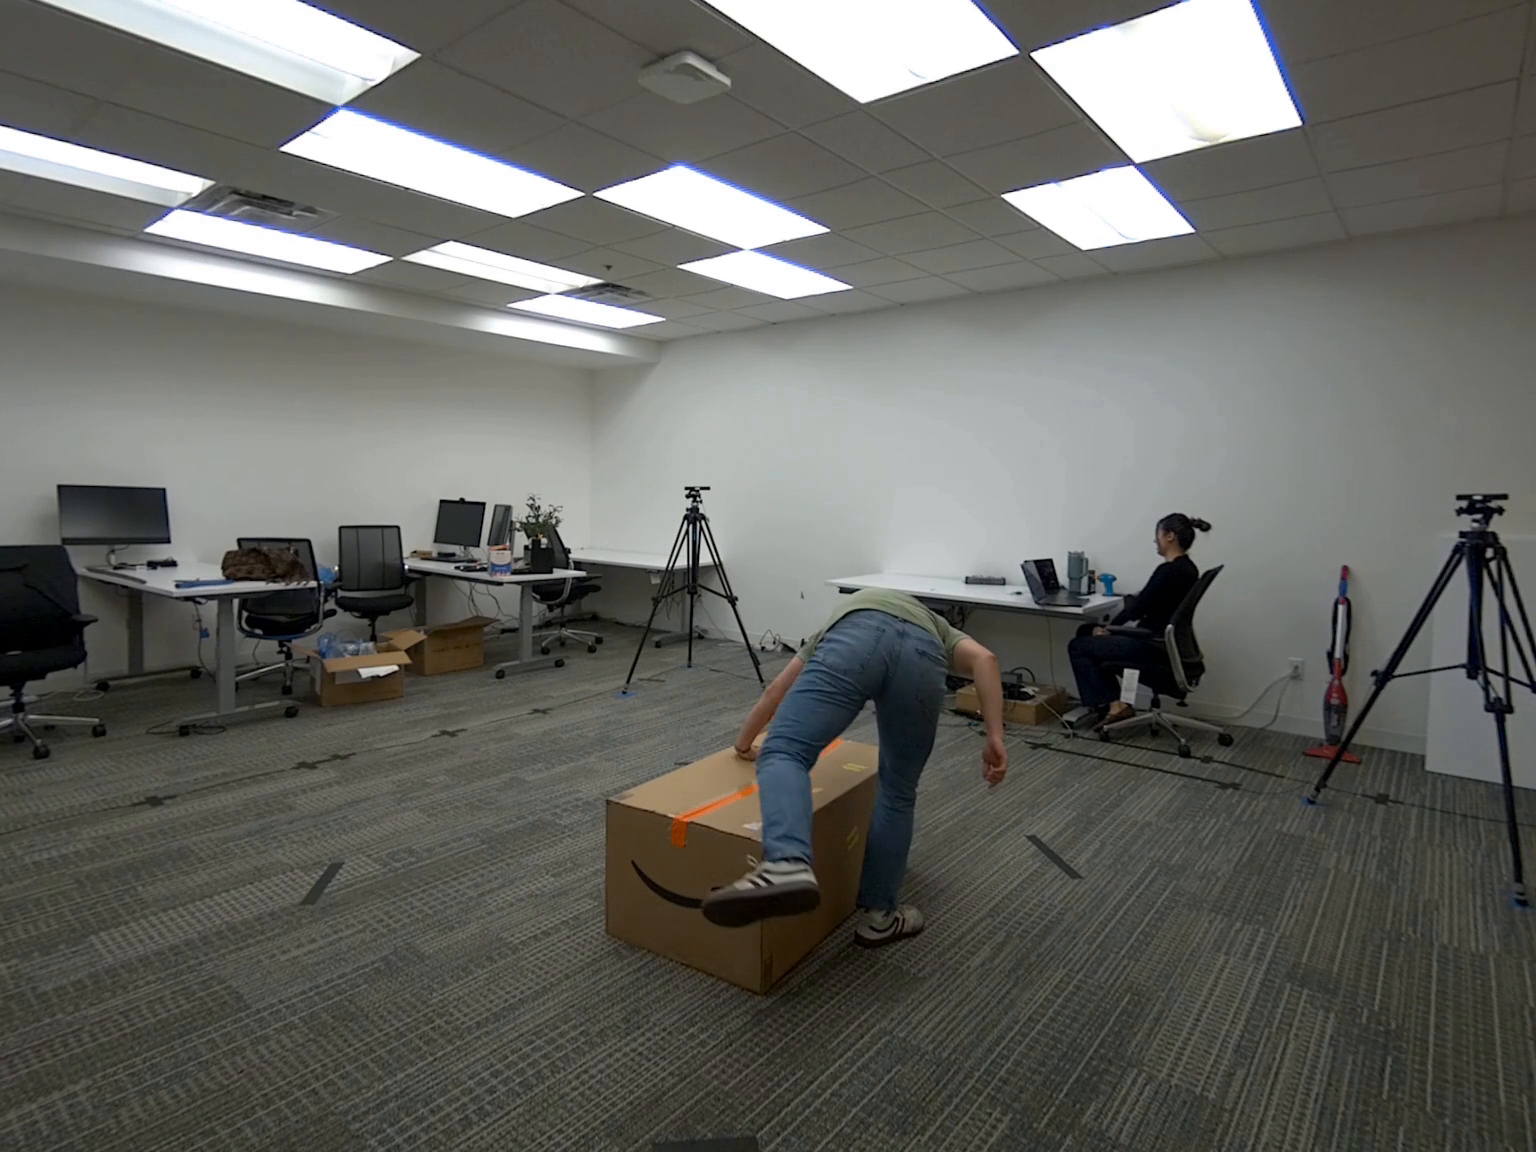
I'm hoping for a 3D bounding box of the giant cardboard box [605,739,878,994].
[{"bbox_3d":[-0.007,0.879,2.889,0.595,0.424,0.998,4,6,32],"label":"giant cardboard box"}]
